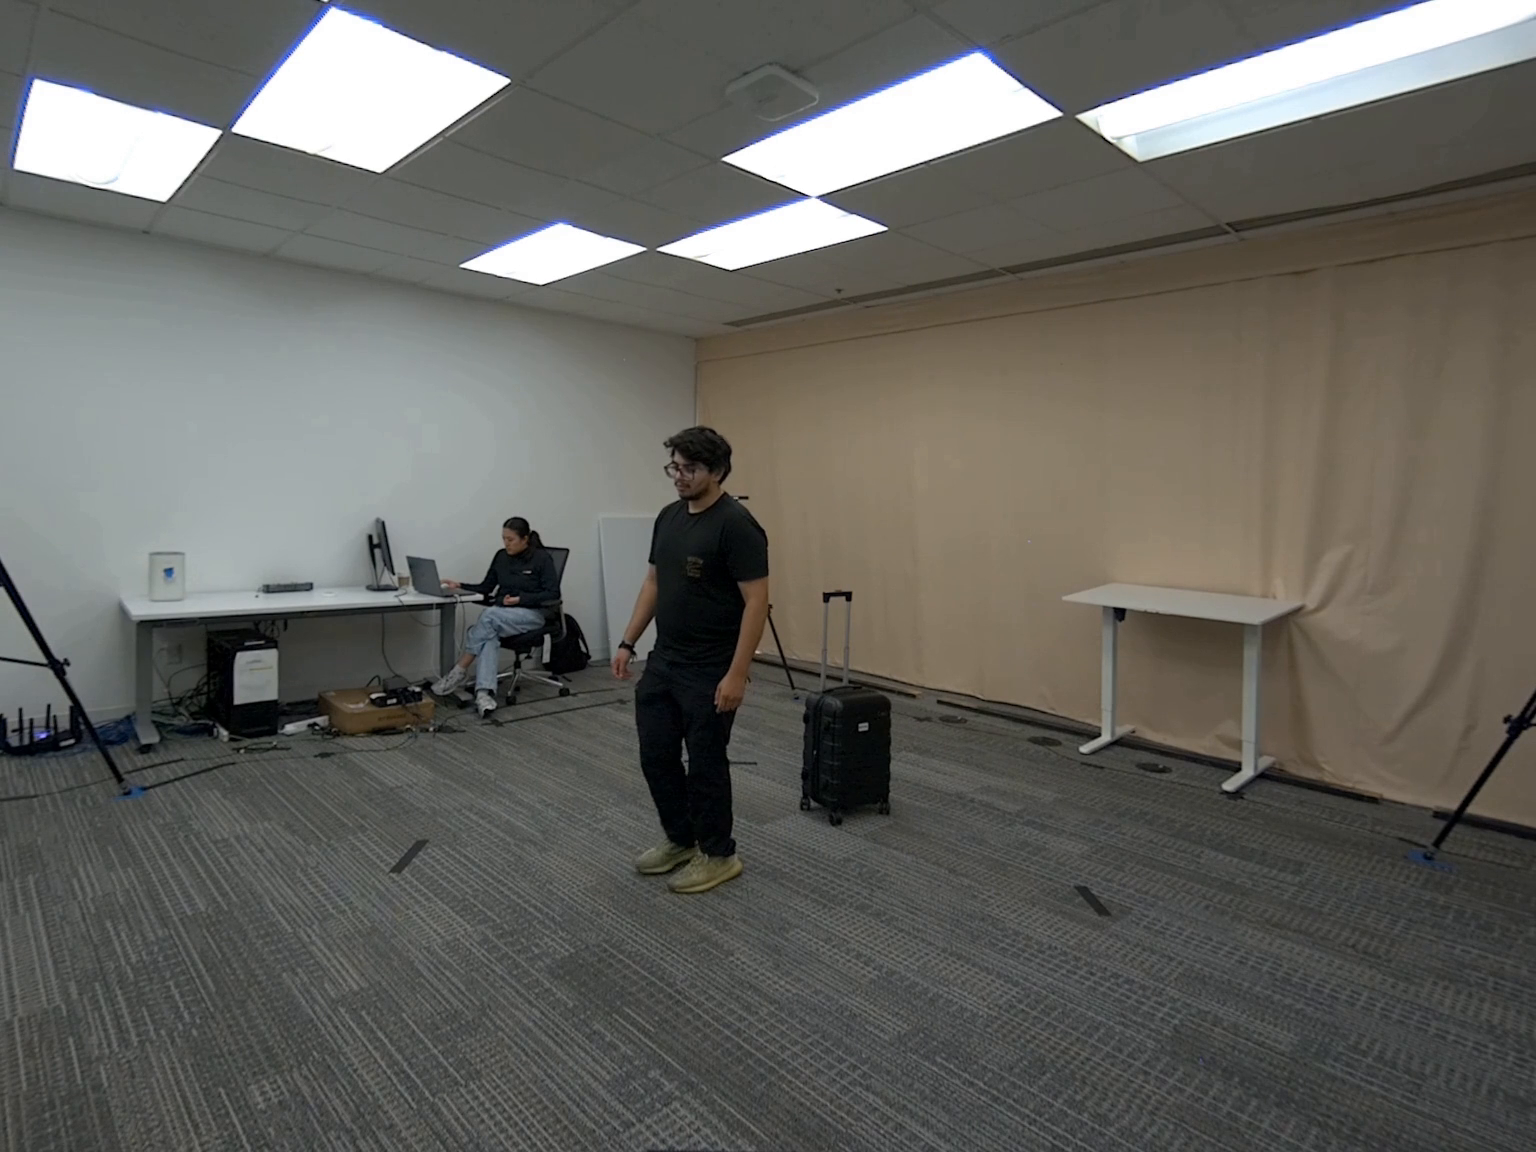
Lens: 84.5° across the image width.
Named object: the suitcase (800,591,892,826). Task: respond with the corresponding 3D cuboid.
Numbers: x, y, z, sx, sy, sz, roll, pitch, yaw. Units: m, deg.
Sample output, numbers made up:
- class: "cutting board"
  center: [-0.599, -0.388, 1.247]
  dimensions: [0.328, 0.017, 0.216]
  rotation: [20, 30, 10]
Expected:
- class: "suitcase"
  center: [0.358, 0.579, 3.782]
  dimensions: [0.376, 0.976, 0.263]
  rotation: [0, 4, -32]
